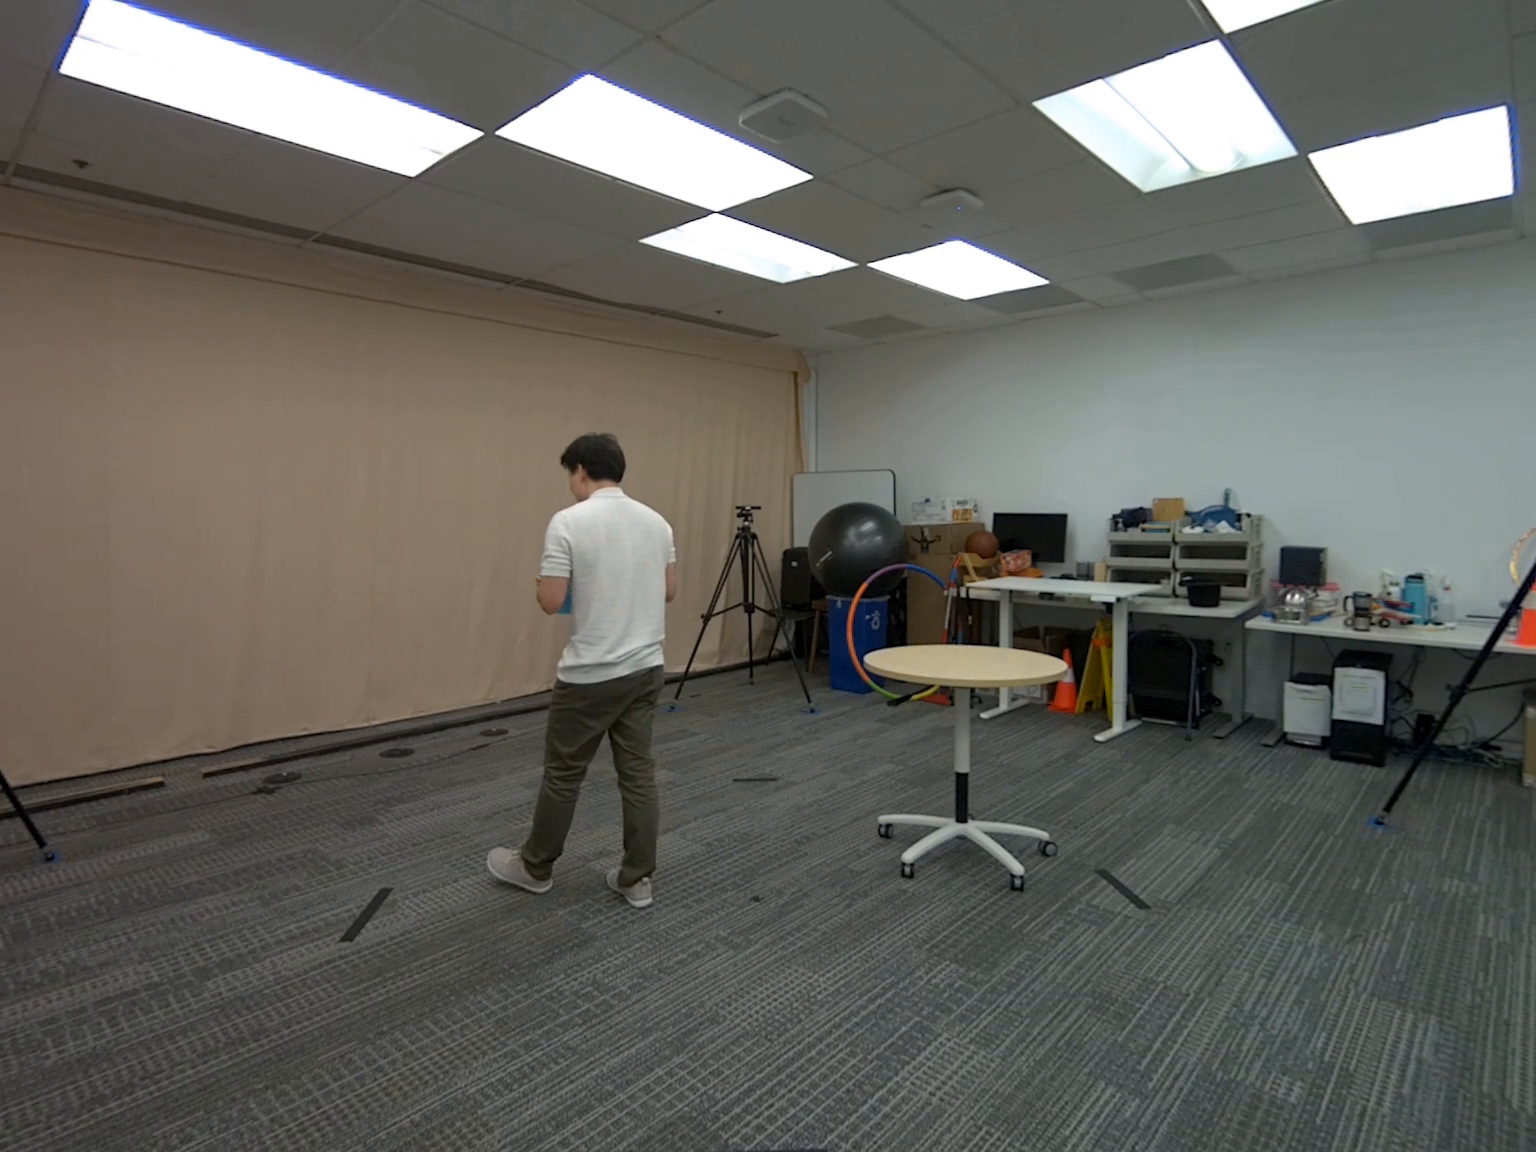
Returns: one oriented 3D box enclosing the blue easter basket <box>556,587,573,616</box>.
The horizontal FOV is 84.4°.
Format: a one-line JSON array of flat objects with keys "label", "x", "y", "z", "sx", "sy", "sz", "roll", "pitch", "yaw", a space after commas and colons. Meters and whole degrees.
[{"label": "blue easter basket", "x": -0.761, "y": 0.062, "z": 3.183, "sx": 0.243, "sy": 0.155, "sz": 0.245, "roll": -3, "pitch": 6, "yaw": -2}]
